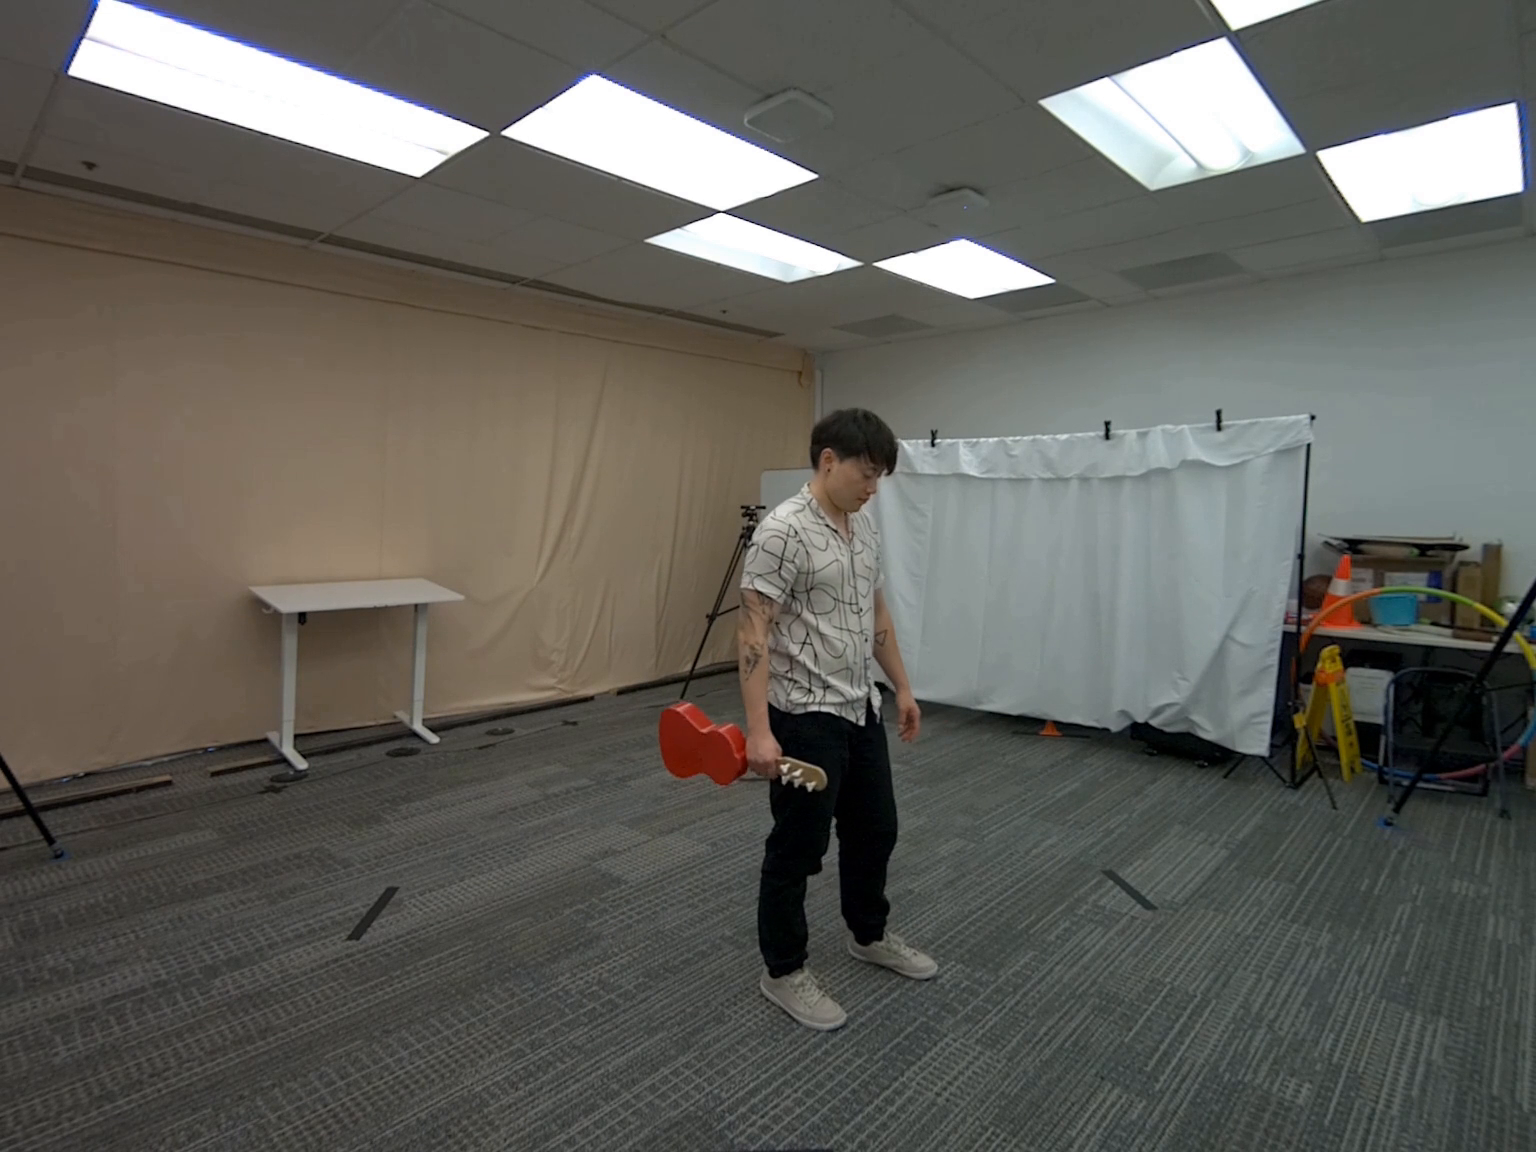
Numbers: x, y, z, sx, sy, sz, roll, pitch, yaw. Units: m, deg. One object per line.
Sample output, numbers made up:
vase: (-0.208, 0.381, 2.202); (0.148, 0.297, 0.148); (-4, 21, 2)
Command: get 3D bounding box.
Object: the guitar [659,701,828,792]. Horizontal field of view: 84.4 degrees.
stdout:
guitar: (-0.067, 0.433, 2.138); (0.513, 0.192, 0.069); (-2, 7, 41)
